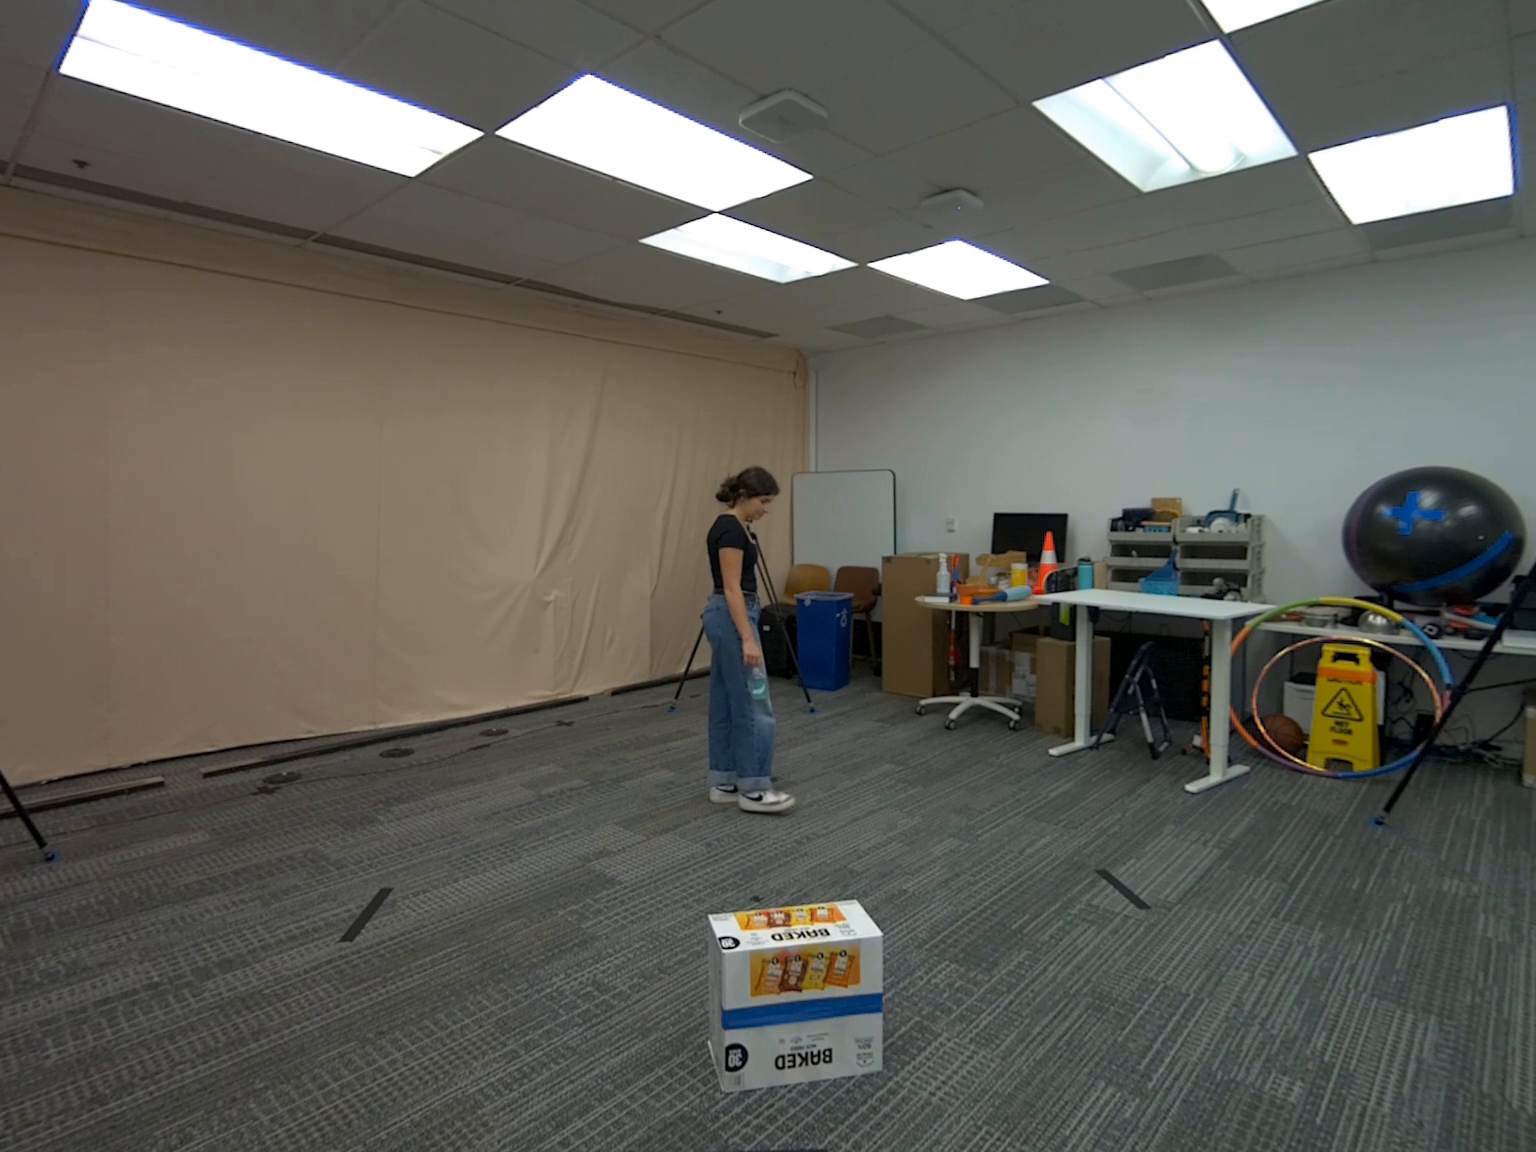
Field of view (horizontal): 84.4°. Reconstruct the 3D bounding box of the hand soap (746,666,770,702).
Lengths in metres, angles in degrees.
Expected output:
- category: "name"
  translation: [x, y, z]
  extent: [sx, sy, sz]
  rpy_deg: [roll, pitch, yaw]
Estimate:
- category: "hand soap"
  translation: [-0.037, 0.465, 3.742]
  extent: [0.084, 0.167, 0.043]
  rpy_deg: [-2, 4, -3]
